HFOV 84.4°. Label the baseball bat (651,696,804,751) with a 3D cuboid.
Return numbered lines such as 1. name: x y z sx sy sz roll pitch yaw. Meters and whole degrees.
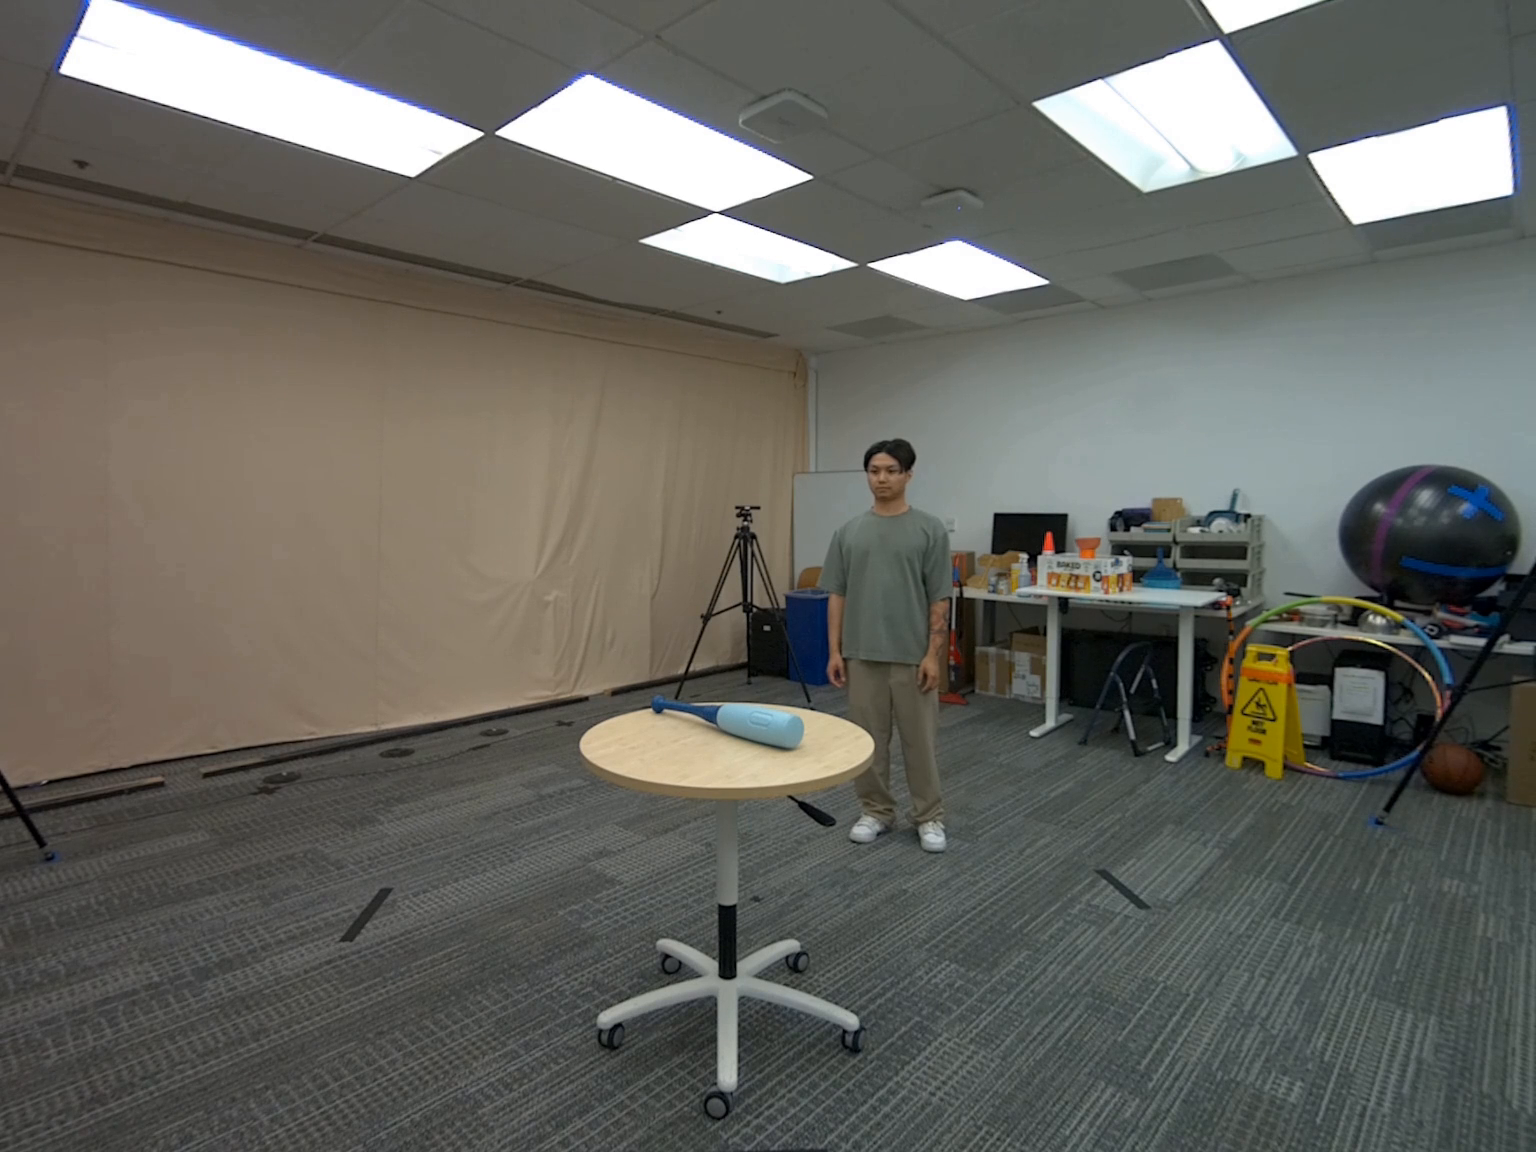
1. baseball bat: -0.123 0.382 2.288 0.561 0.089 0.086 2 4 44
